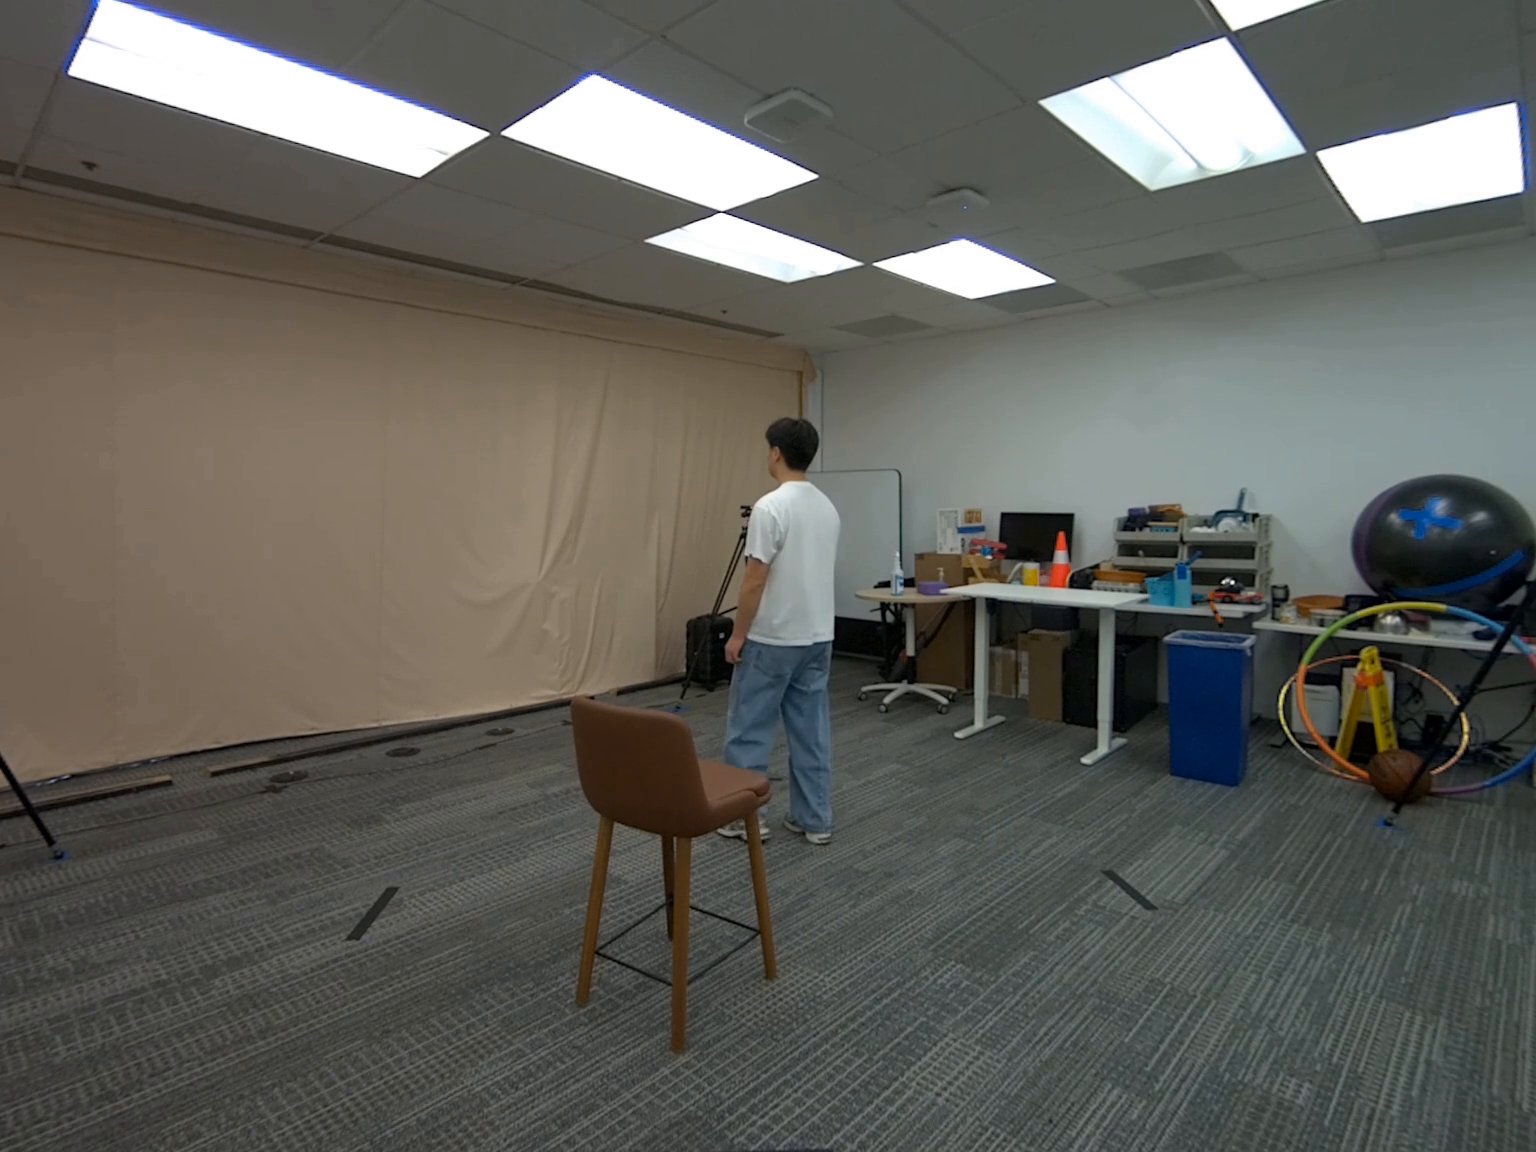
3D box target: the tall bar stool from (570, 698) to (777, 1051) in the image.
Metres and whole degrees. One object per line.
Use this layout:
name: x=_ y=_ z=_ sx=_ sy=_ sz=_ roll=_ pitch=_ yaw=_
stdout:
tall bar stool: x=-0.271 y=0.759 z=2.402 sx=0.471 sy=0.887 sz=0.455 roll=1 pitch=6 yaw=35
